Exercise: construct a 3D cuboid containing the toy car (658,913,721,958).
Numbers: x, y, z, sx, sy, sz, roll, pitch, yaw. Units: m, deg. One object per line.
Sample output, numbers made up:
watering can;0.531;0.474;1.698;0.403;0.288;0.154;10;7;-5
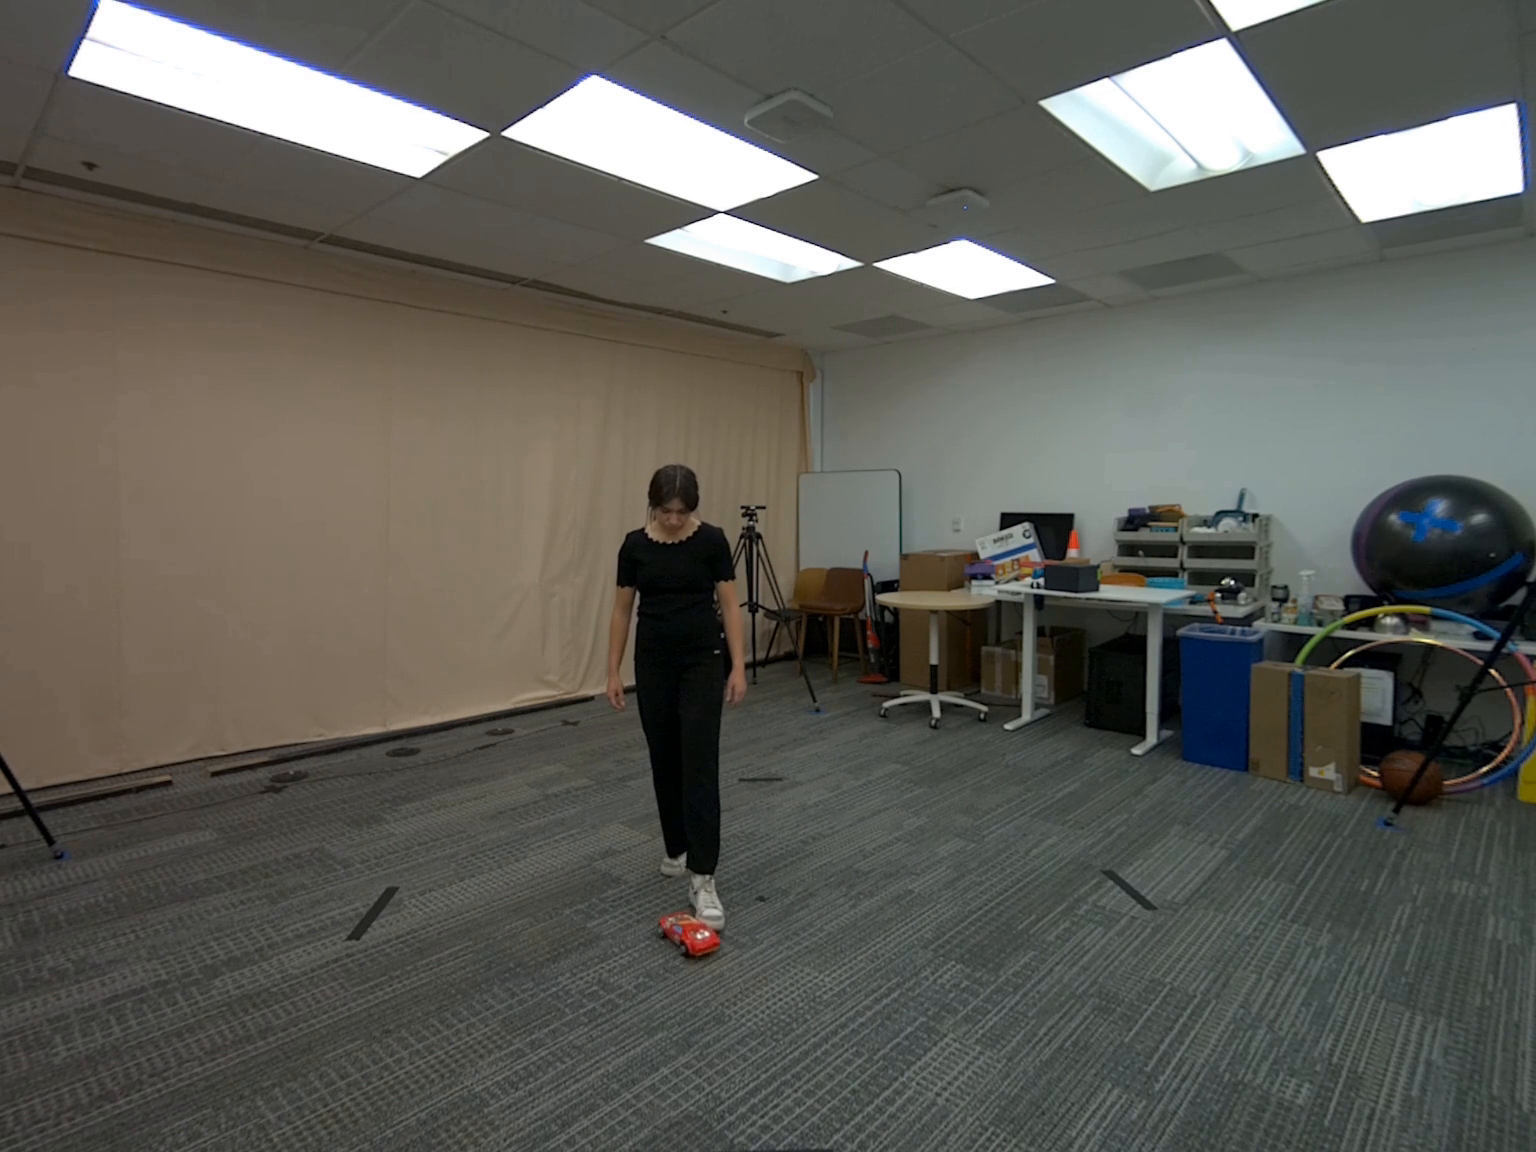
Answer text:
toy car;-0.245;1.130;2.676;0.126;0.083;0.261;-3;-5;-36
